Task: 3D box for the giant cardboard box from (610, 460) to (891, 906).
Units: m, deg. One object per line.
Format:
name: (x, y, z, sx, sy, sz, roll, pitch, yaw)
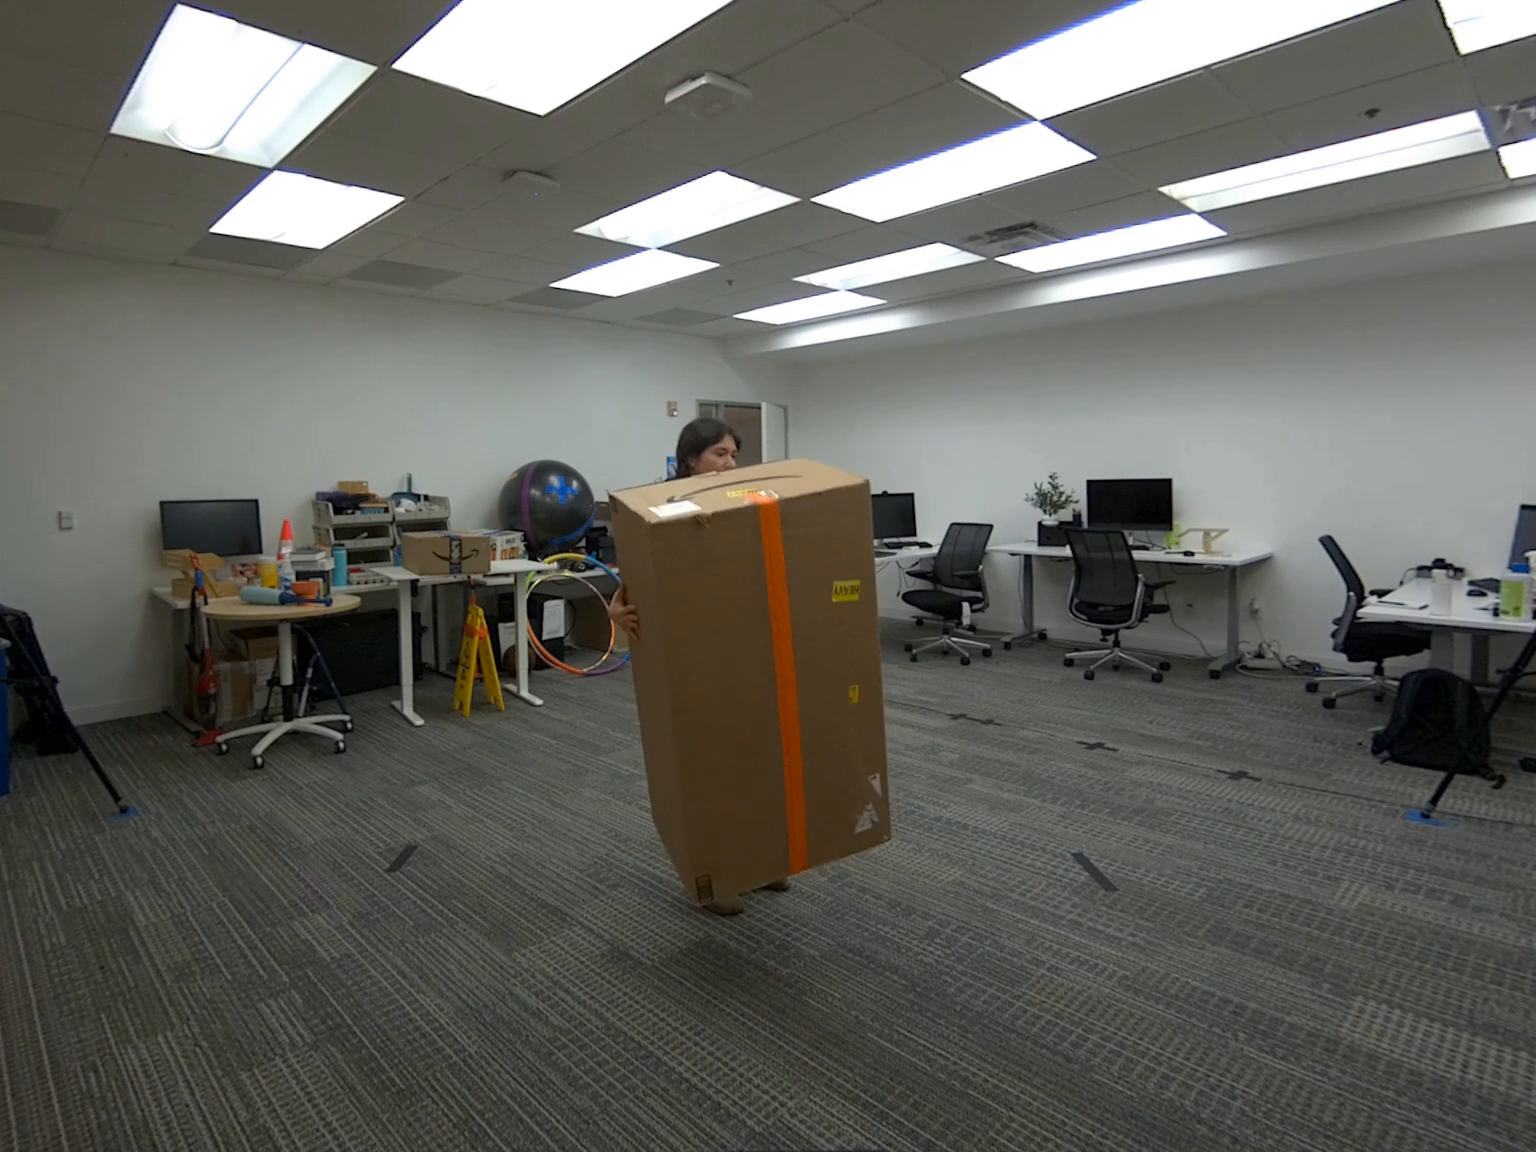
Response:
giant cardboard box: (-0.044, 0.244, 2.322, 0.569, 1.010, 0.439, -12, 16, -20)
